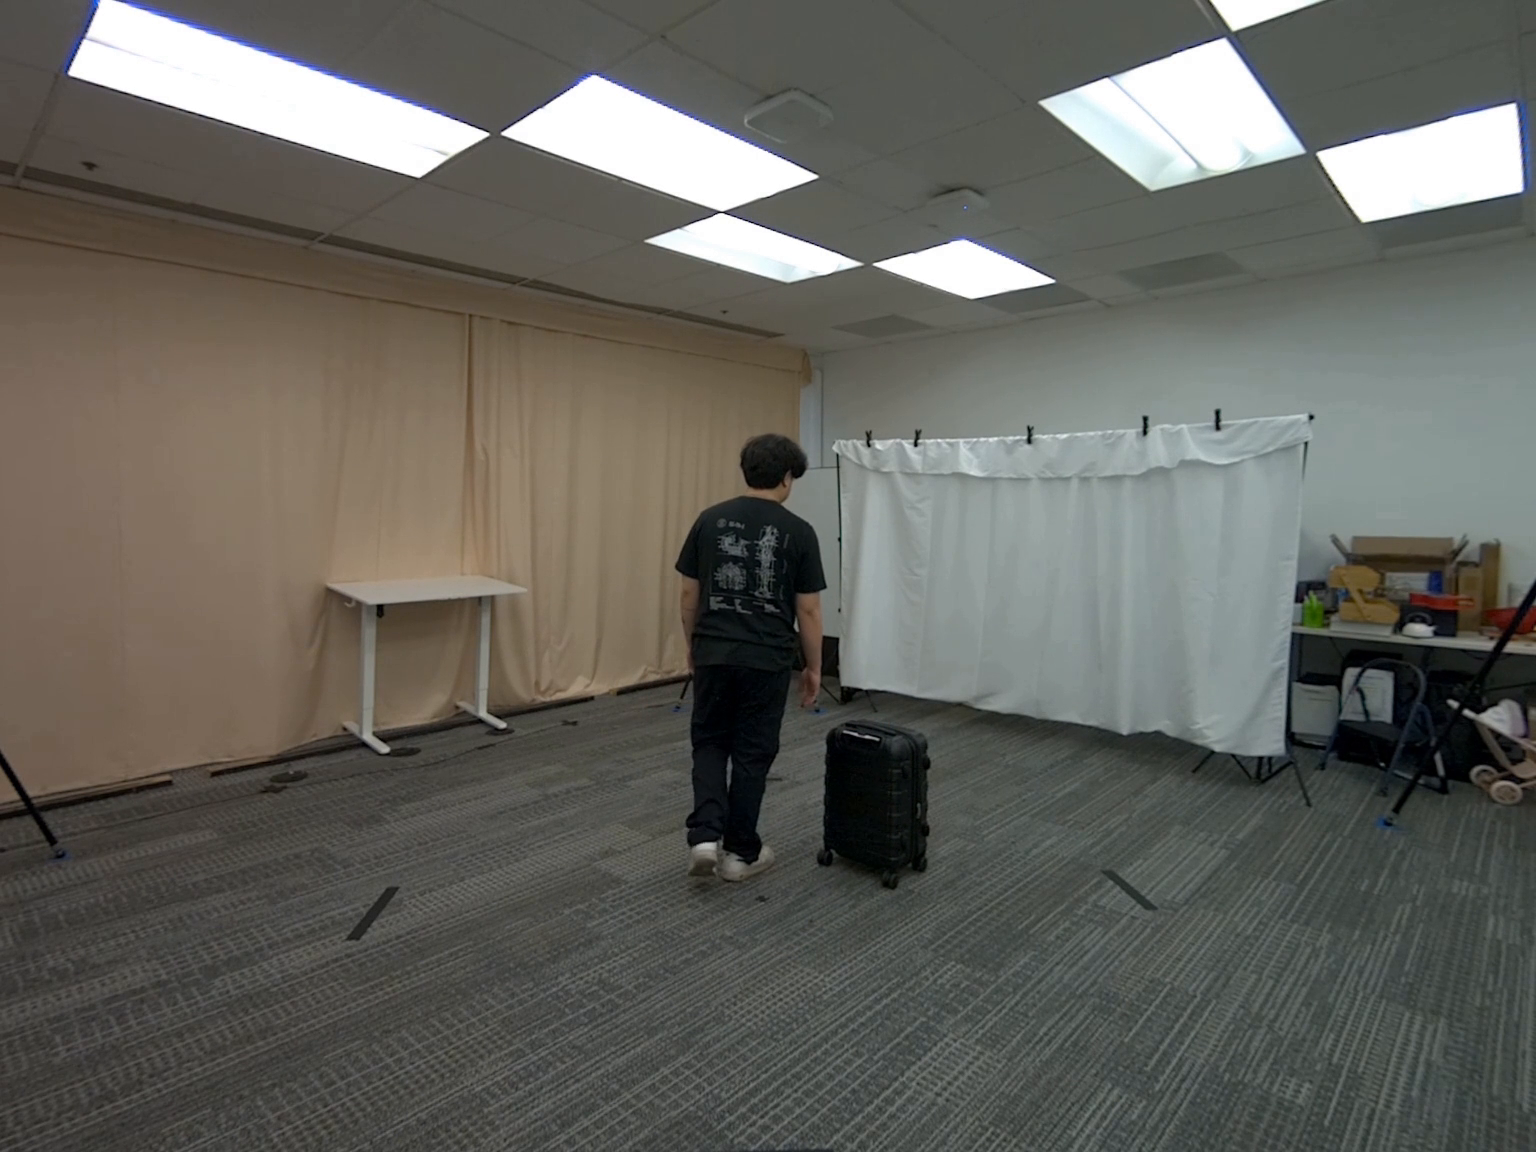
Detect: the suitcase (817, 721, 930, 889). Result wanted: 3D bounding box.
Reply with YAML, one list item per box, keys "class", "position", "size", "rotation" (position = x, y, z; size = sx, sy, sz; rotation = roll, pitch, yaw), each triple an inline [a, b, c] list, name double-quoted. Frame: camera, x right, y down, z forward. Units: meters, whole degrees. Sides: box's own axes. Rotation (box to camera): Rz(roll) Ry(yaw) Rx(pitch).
- class: "suitcase"
  position: [0.415, 0.844, 3.245]
  size: [0.388, 0.549, 0.240]
  rotation: [2, 1, 42]
